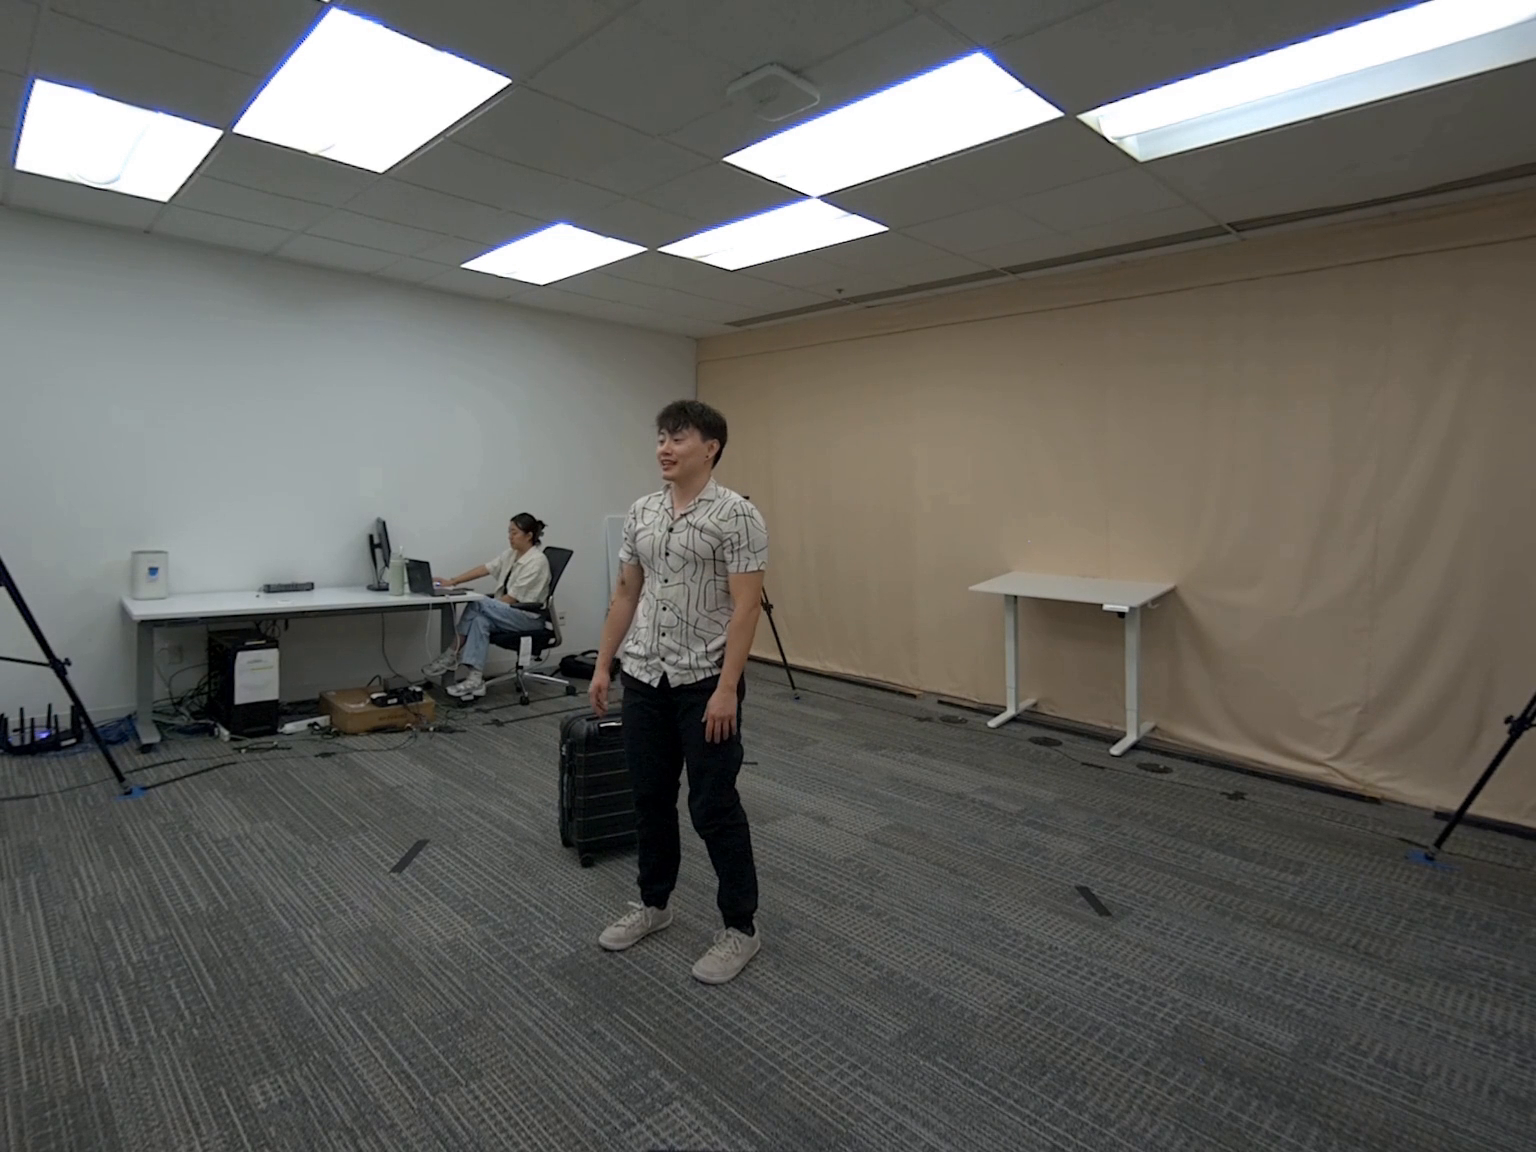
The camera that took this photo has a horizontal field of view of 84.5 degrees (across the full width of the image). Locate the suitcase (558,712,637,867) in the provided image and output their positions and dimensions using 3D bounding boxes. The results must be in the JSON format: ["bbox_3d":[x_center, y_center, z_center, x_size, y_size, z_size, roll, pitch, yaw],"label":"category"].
[{"bbox_3d":[-0.642,0.800,3.297,0.368,0.548,0.254,-2,5,-31],"label":"suitcase"}]
